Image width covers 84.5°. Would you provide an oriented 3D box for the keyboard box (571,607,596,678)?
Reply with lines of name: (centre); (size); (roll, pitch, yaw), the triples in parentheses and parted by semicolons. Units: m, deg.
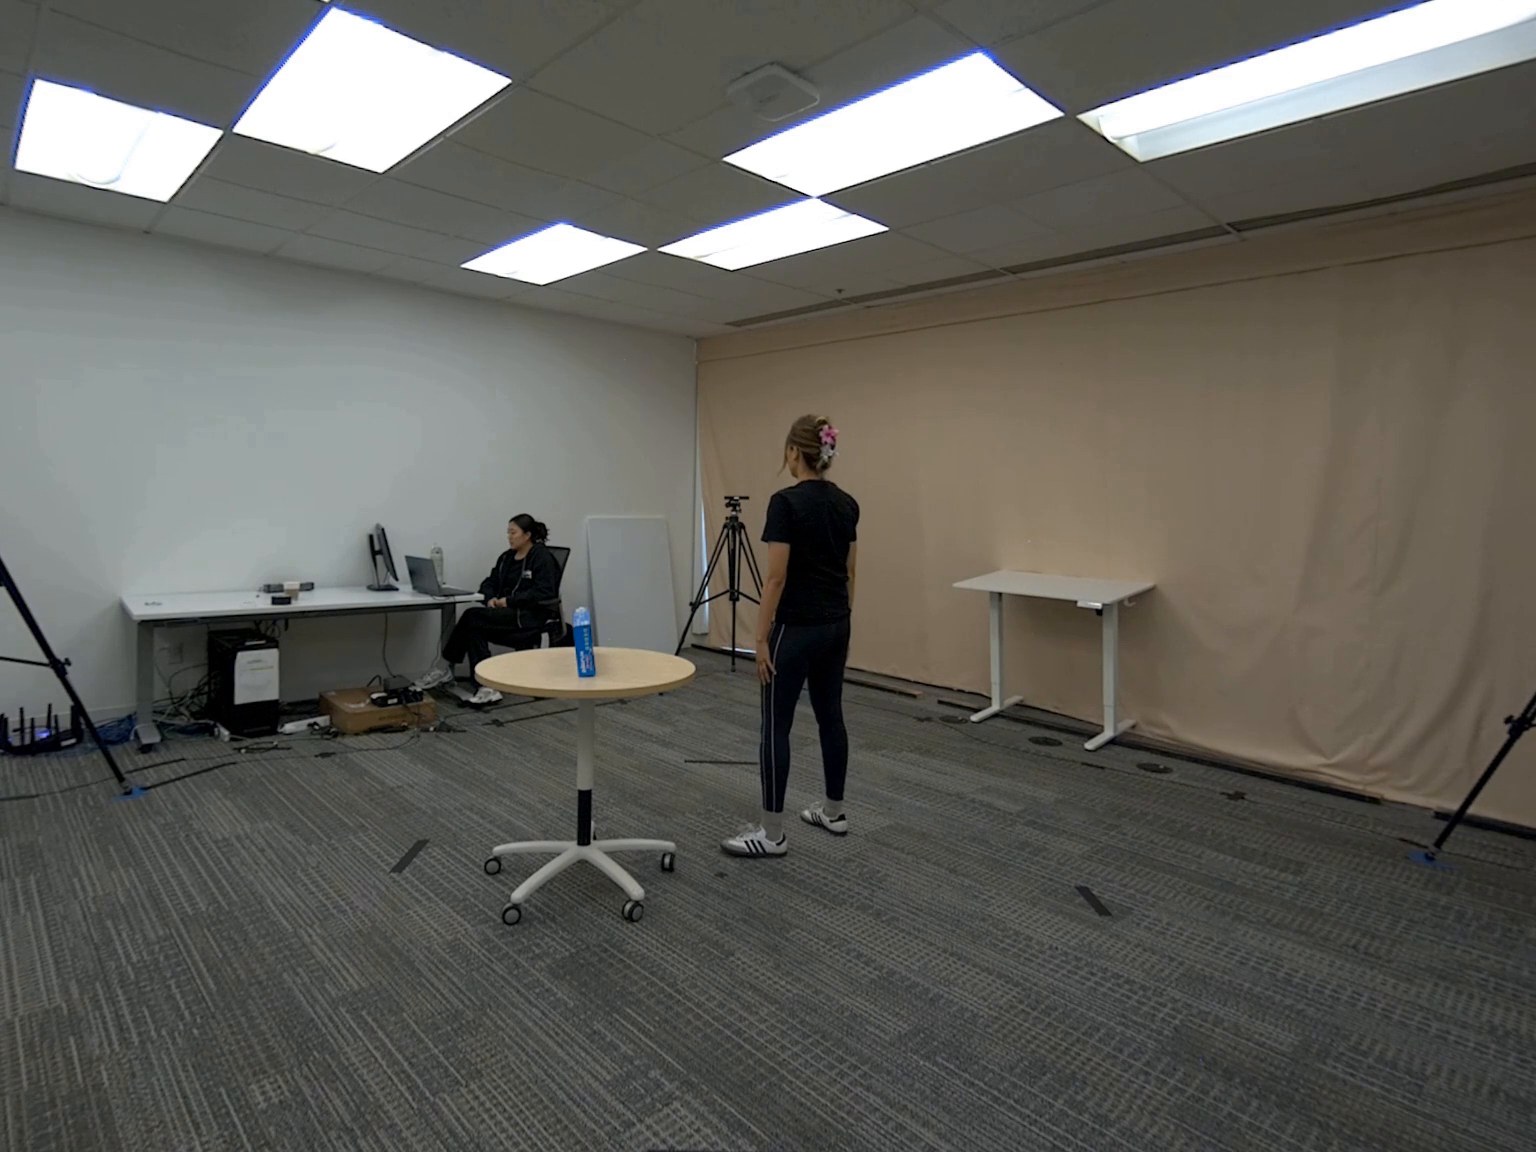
keyboard box: (-0.663, 0.228, 2.997); (0.058, 0.175, 0.442); (-4, 6, -12)
